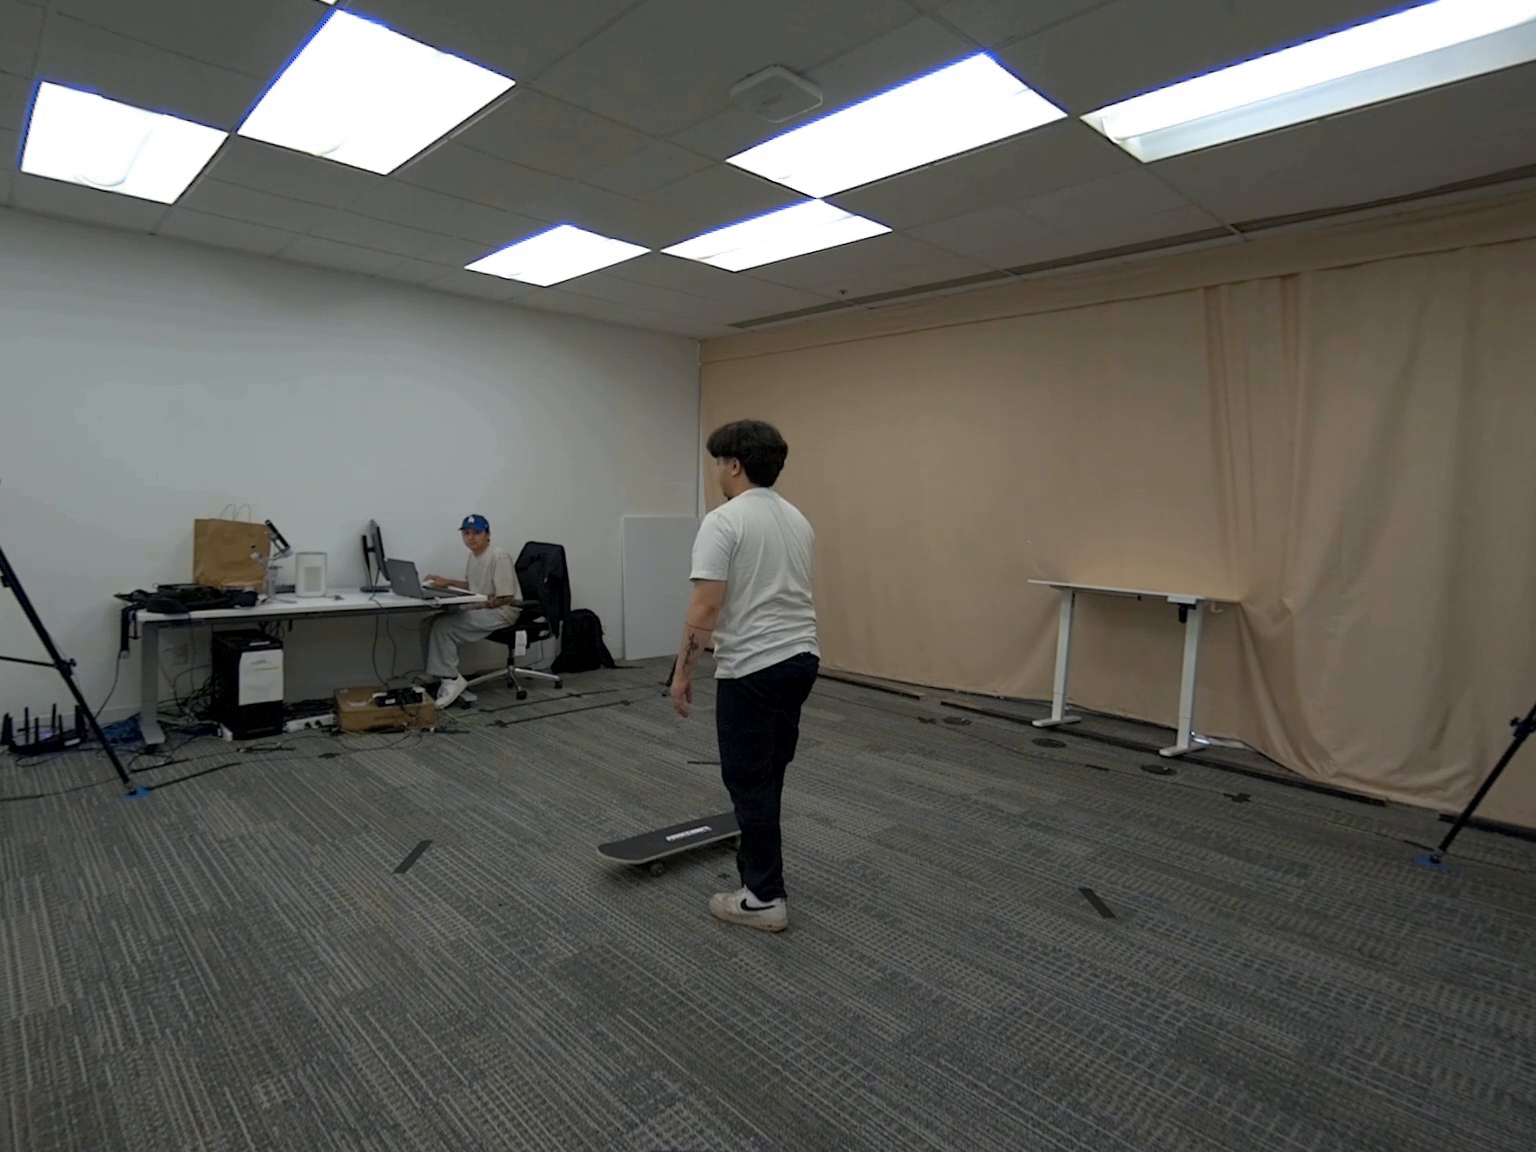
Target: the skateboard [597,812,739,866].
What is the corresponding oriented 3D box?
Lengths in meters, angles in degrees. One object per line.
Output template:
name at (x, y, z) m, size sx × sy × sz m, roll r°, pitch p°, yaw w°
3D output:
skateboard at (-0.318, 1.030, 3.271) m, size 0.768 × 0.110 × 0.198 m, roll -3°, pitch 6°, yaw -40°
